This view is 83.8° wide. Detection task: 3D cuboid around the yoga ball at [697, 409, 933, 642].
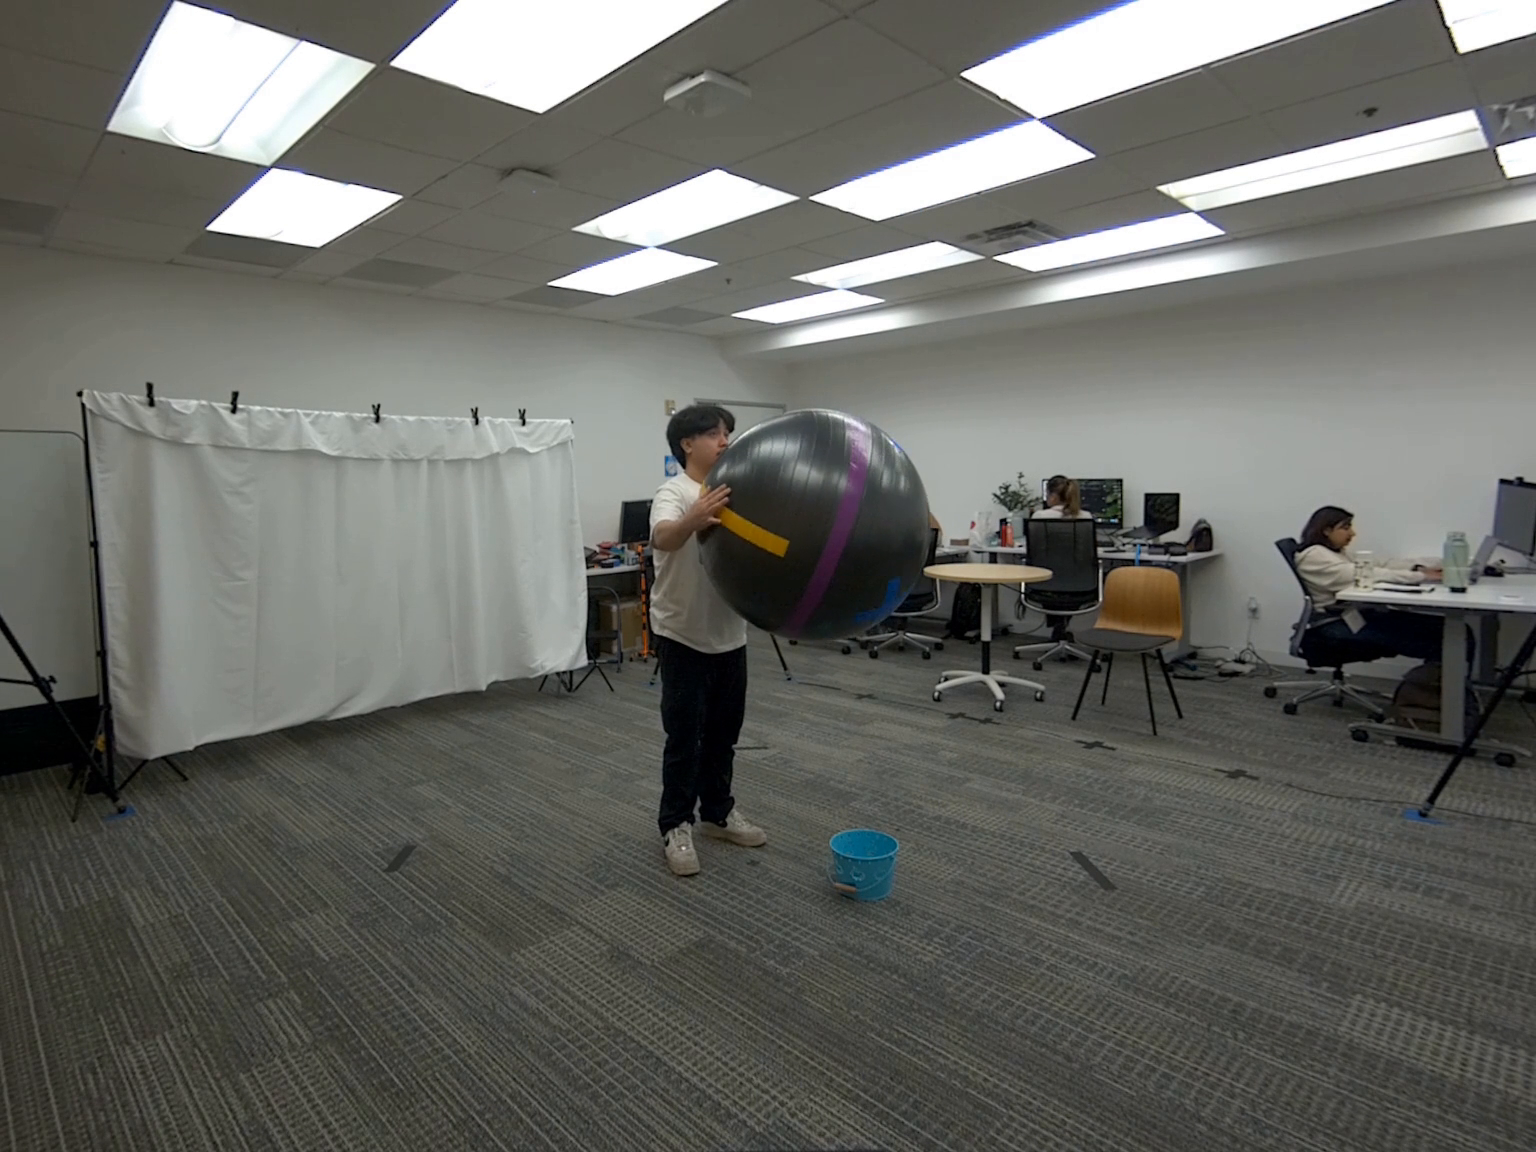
[{"bbox_3d":[0.145,-0.159,2.784,0.757,0.755,0.762,-1,5,-2],"label":"yoga ball"}]
